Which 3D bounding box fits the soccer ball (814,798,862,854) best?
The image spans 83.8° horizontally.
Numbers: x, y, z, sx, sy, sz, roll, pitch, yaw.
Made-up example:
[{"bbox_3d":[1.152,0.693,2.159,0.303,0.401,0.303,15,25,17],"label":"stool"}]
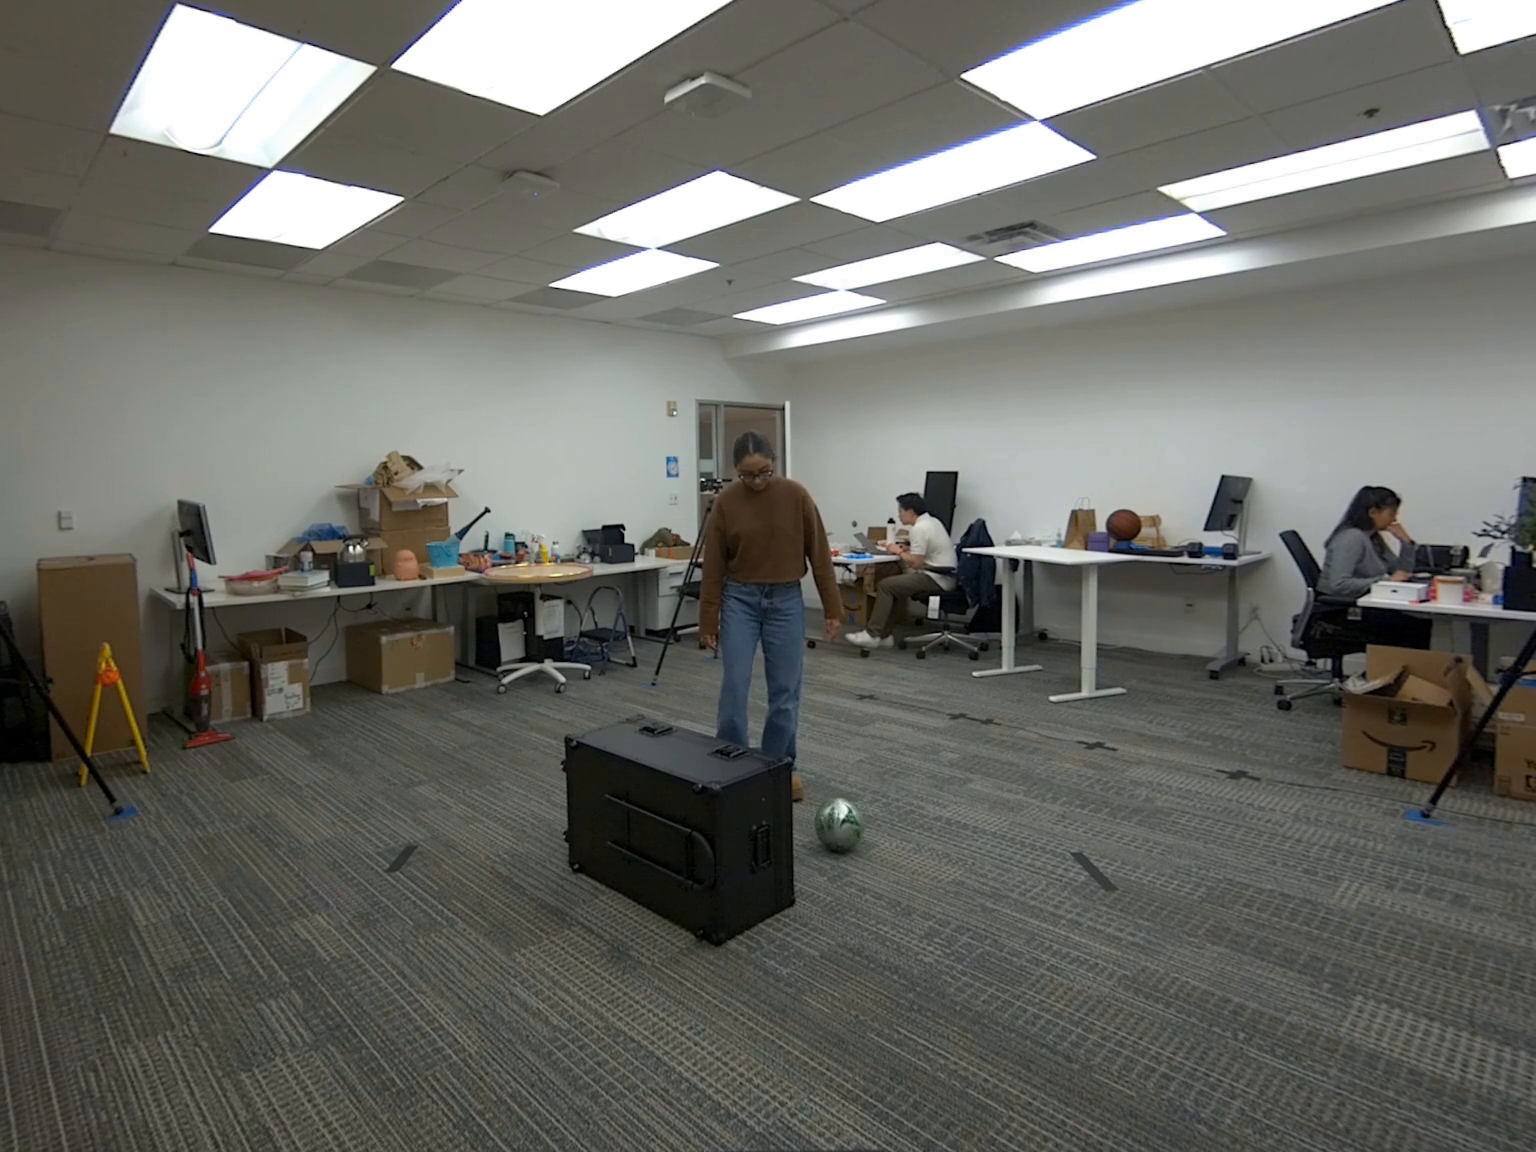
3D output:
[{"bbox_3d":[0.259,0.926,3.207,0.187,0.187,0.188,-1,5,-2],"label":"soccer ball"}]
